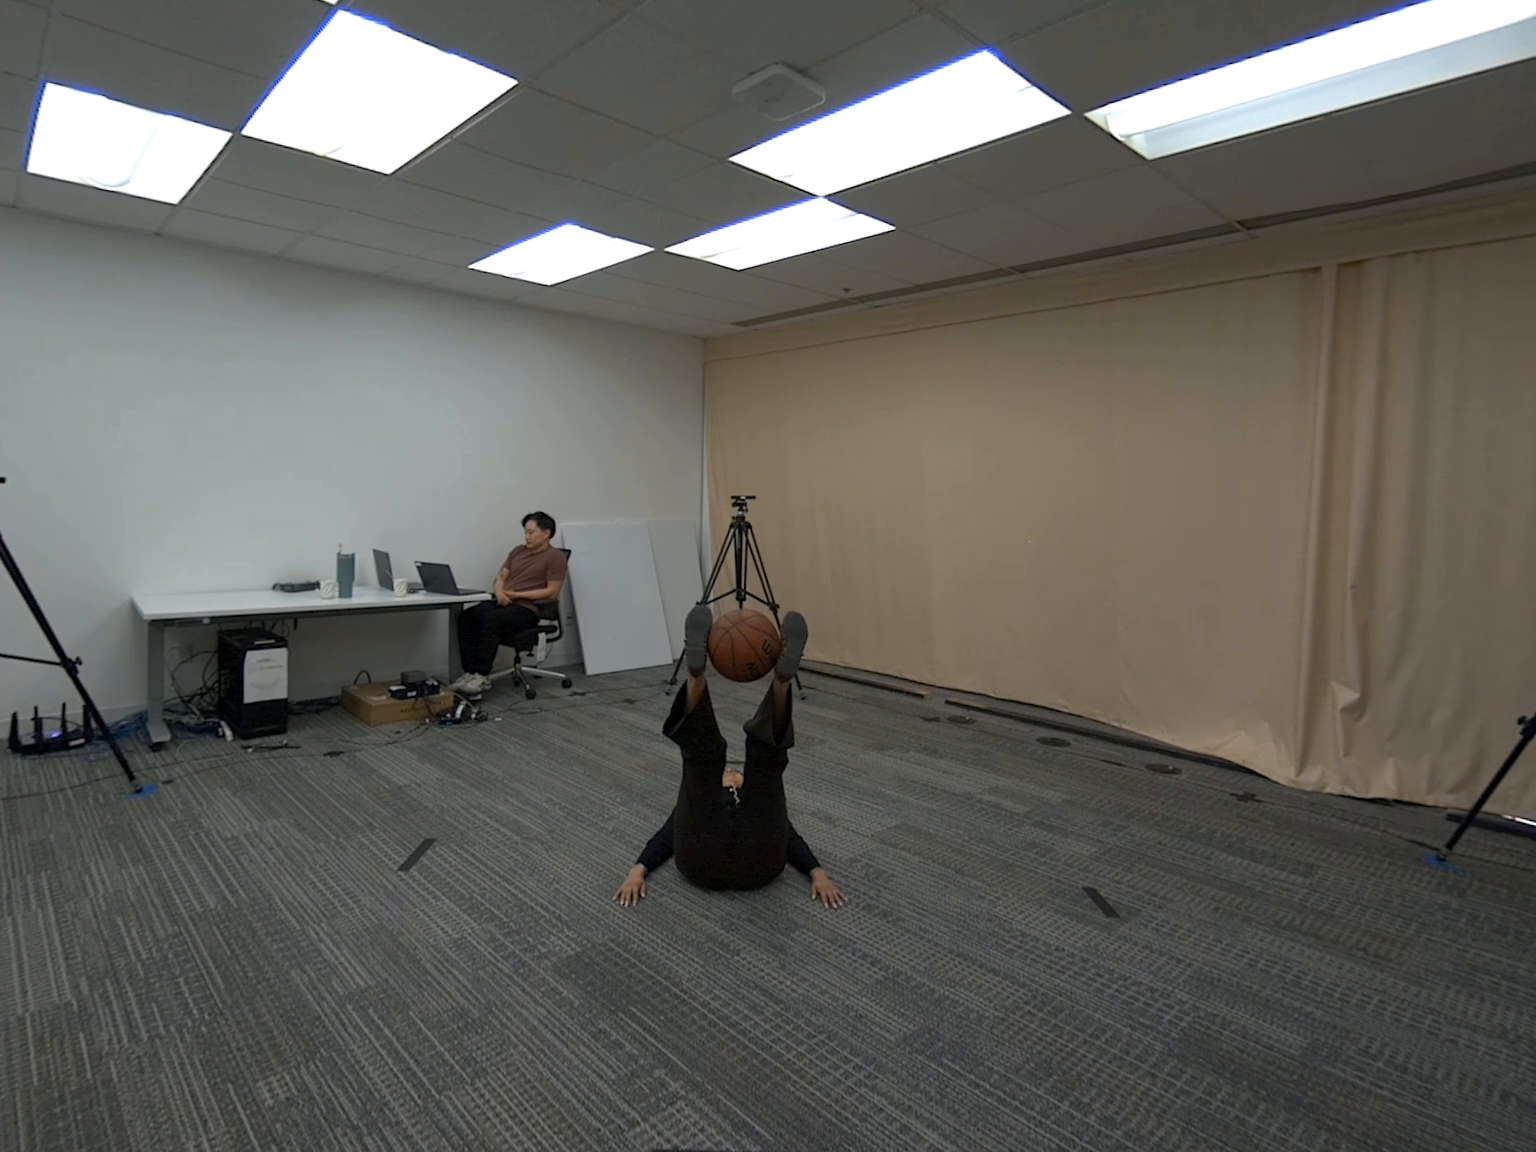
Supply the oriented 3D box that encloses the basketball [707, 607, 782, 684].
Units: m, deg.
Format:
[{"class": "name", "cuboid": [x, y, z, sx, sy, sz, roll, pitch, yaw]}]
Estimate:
[{"class": "basketball", "cuboid": [-0.087, 0.223, 2.711, 0.235, 0.235, 0.237, 4, 5, -2]}]
